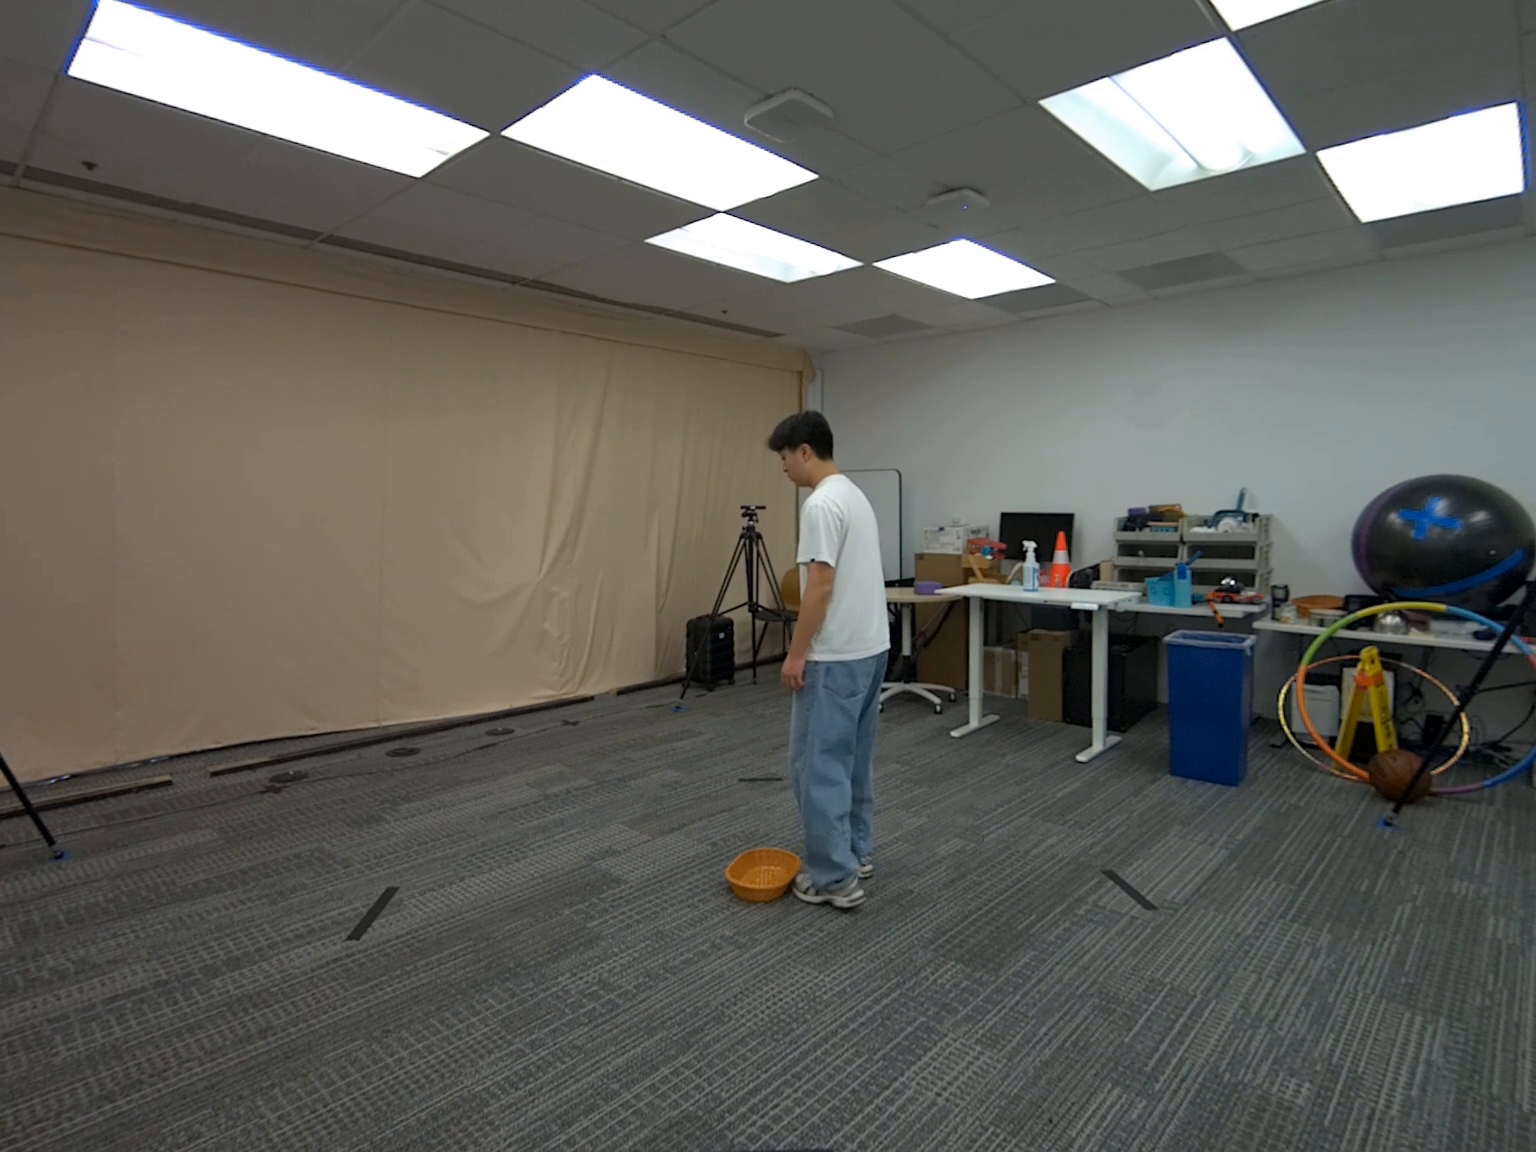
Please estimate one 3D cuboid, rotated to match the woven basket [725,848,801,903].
[{"bbox_3d":[-0.015,1.098,3.091,0.258,0.073,0.343,2,5,23],"label":"woven basket"}]
